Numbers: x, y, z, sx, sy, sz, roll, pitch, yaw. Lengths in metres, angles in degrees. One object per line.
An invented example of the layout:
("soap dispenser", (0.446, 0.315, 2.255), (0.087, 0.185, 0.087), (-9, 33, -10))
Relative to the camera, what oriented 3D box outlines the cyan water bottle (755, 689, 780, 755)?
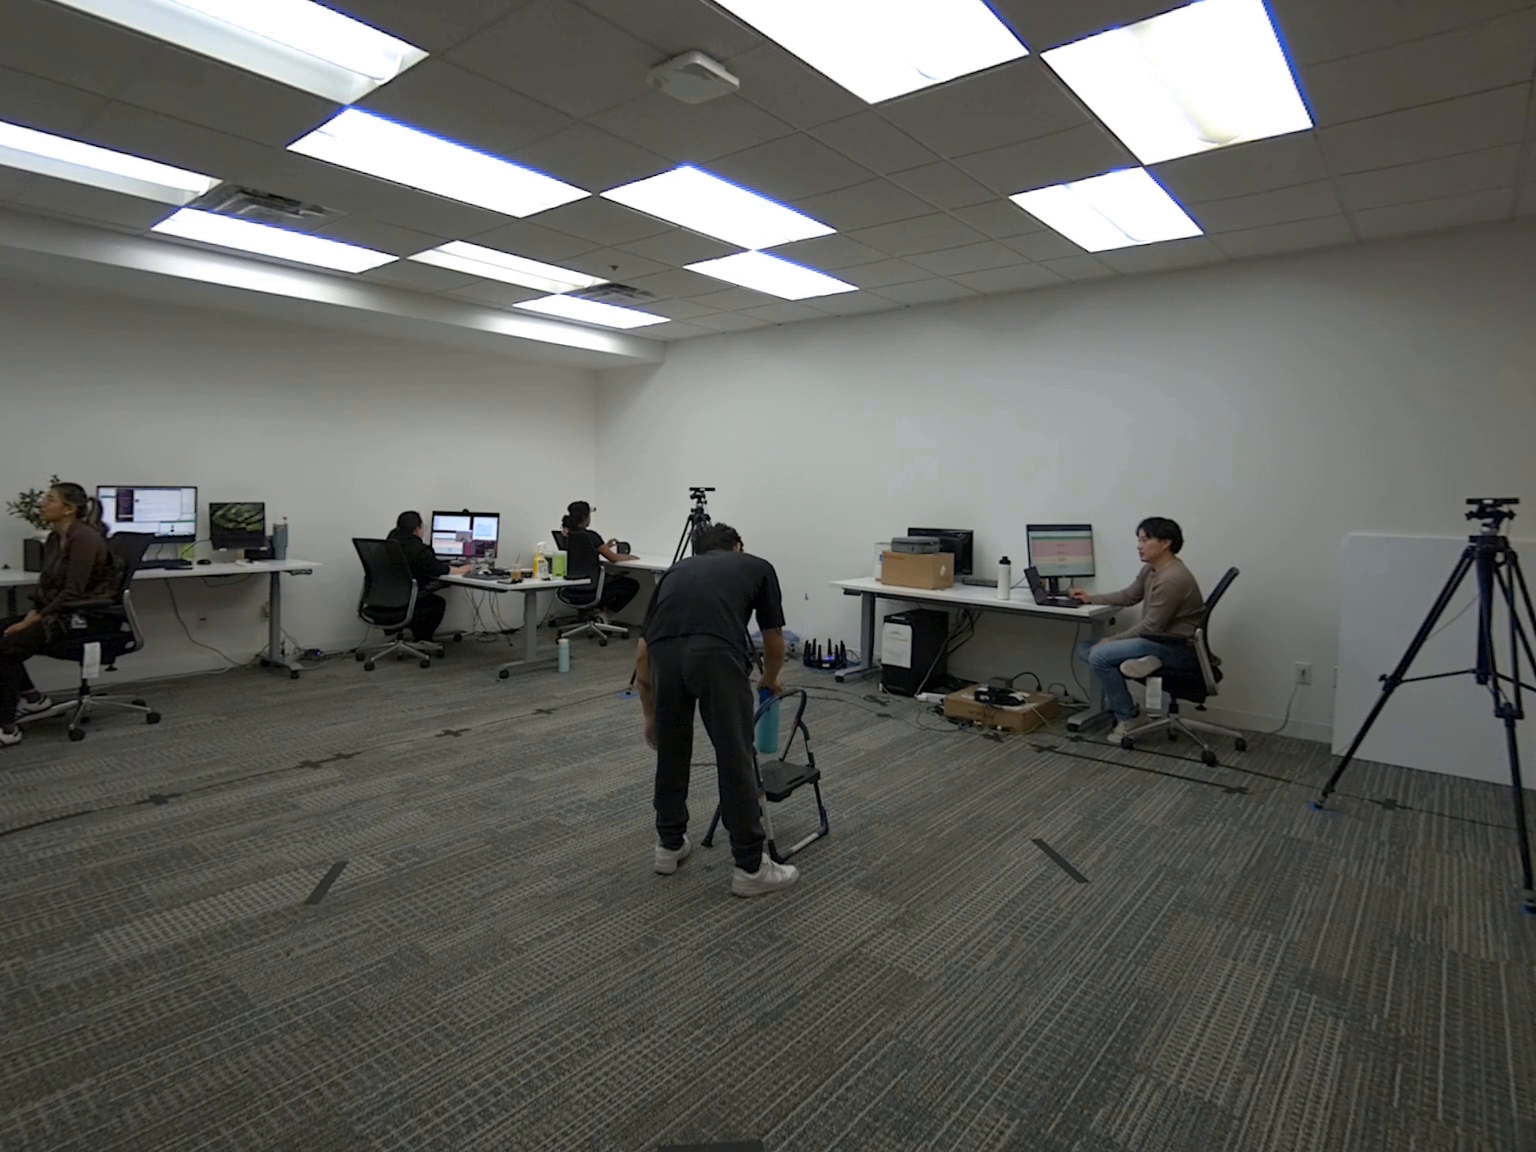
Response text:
("cyan water bottle", (-0.001, 0.564, 3.445), (0.092, 0.282, 0.093), (2, 3, -2))
